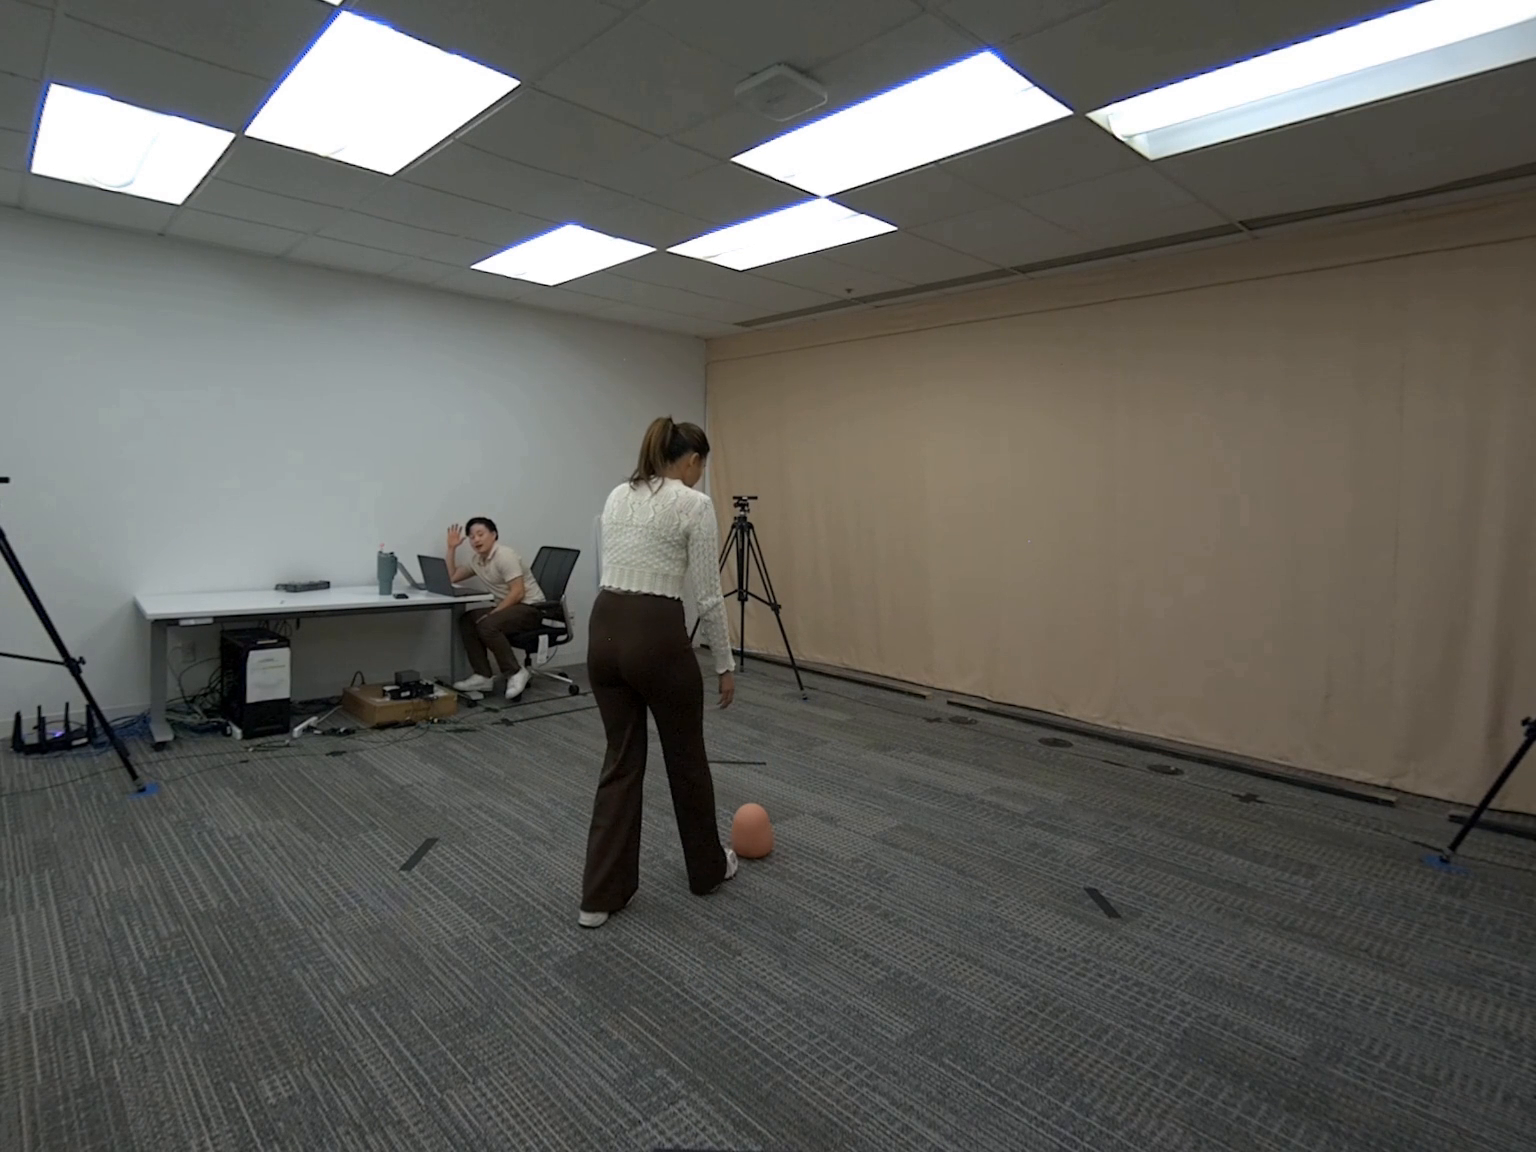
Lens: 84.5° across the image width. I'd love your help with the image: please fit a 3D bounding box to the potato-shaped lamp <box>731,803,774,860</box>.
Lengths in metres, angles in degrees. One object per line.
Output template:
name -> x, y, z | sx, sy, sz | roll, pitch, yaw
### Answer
potato-shaped lamp -> -0.072, 0.991, 3.288 | 0.168, 0.197, 0.168 | 4, 5, 30
